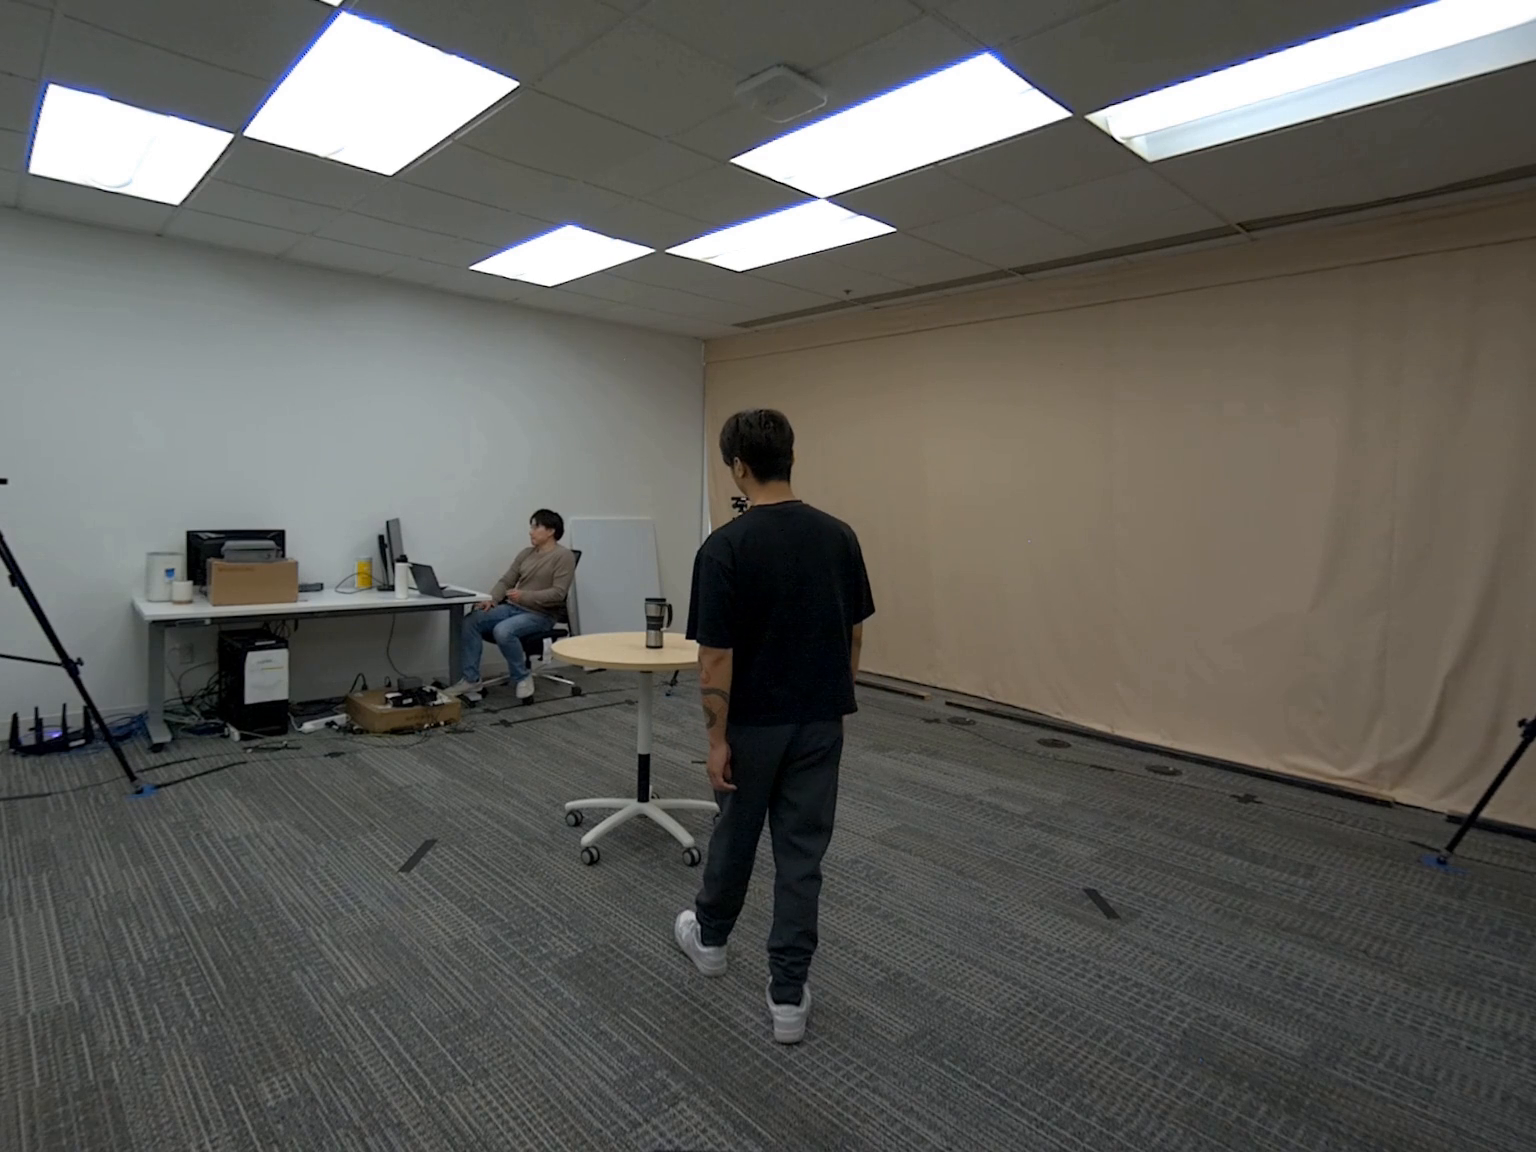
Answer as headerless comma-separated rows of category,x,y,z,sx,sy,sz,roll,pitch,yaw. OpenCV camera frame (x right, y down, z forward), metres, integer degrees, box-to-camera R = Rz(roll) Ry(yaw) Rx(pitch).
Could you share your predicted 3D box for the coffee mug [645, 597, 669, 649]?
coffee mug,-0.458,0.192,3.385,0.086,0.203,0.124,4,-2,-29
